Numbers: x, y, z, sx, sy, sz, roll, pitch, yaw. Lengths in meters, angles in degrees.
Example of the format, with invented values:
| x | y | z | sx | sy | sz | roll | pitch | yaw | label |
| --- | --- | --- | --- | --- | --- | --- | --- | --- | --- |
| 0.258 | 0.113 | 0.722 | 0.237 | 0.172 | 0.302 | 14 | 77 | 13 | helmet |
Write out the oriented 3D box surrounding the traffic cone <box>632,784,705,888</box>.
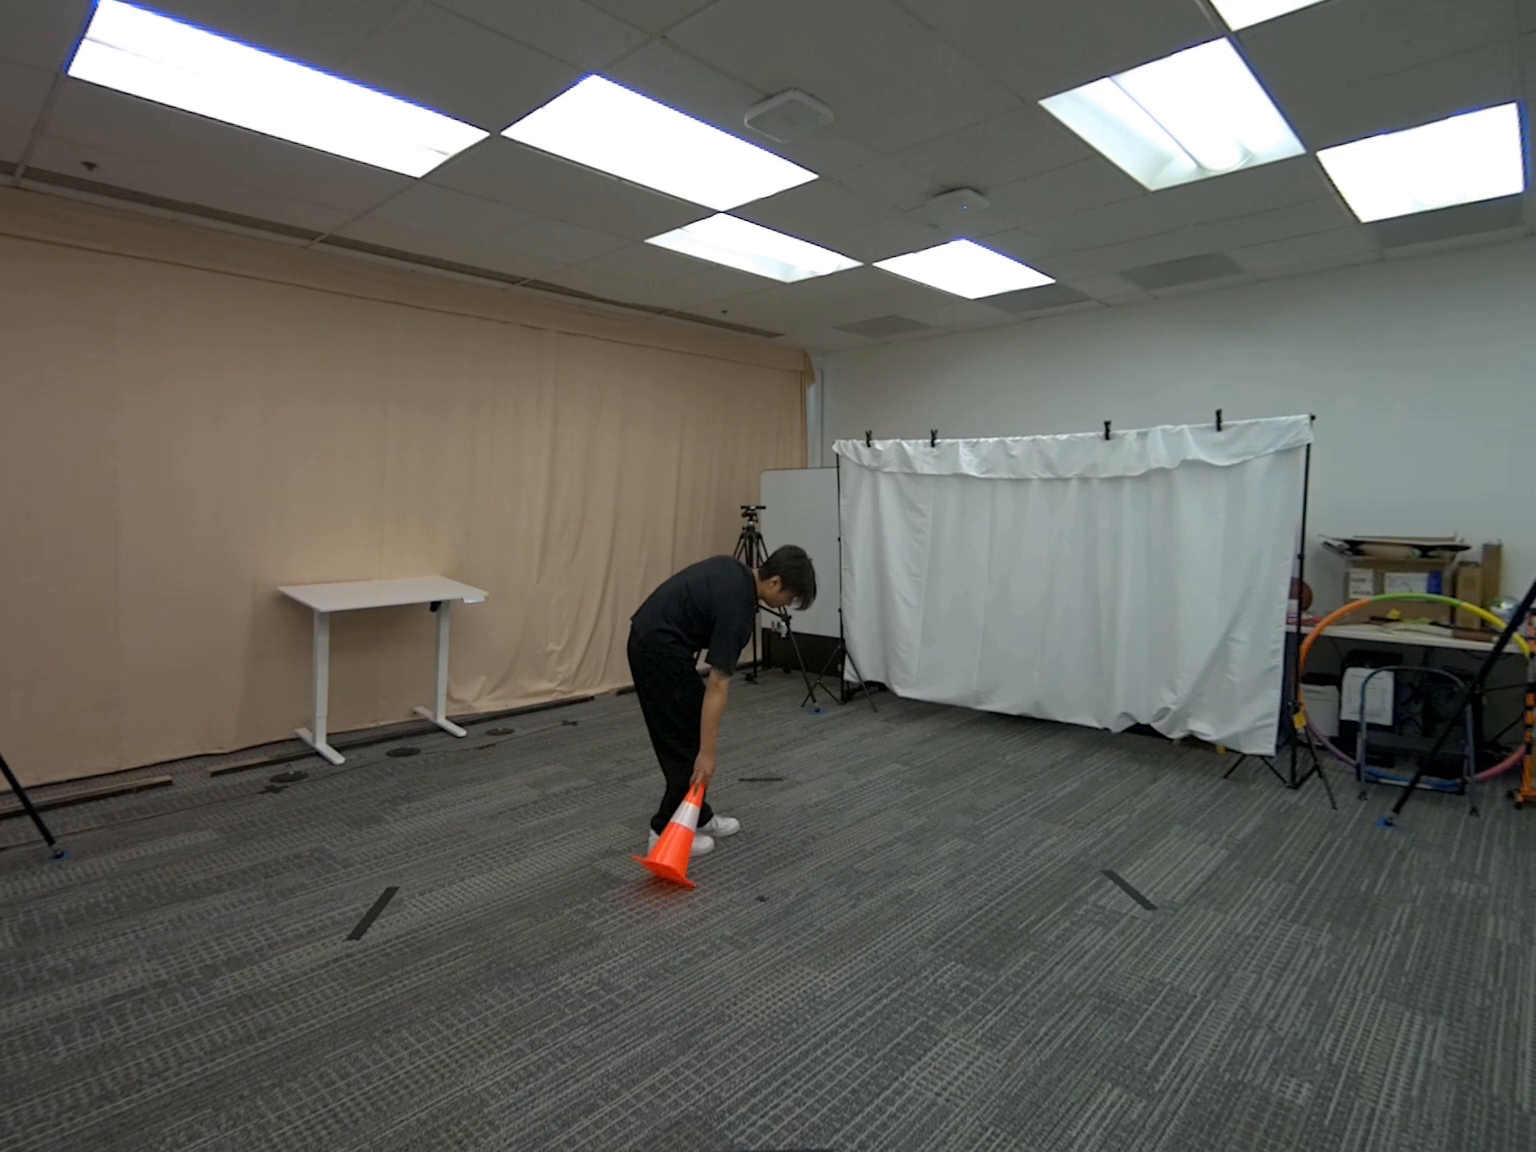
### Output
| x | y | z | sx | sy | sz | roll | pitch | yaw | label |
| --- | --- | --- | --- | --- | --- | --- | --- | --- | --- |
| -0.316 | 0.919 | 3.160 | 0.209 | 0.385 | 0.198 | 2 | -34 | 29 | traffic cone |
